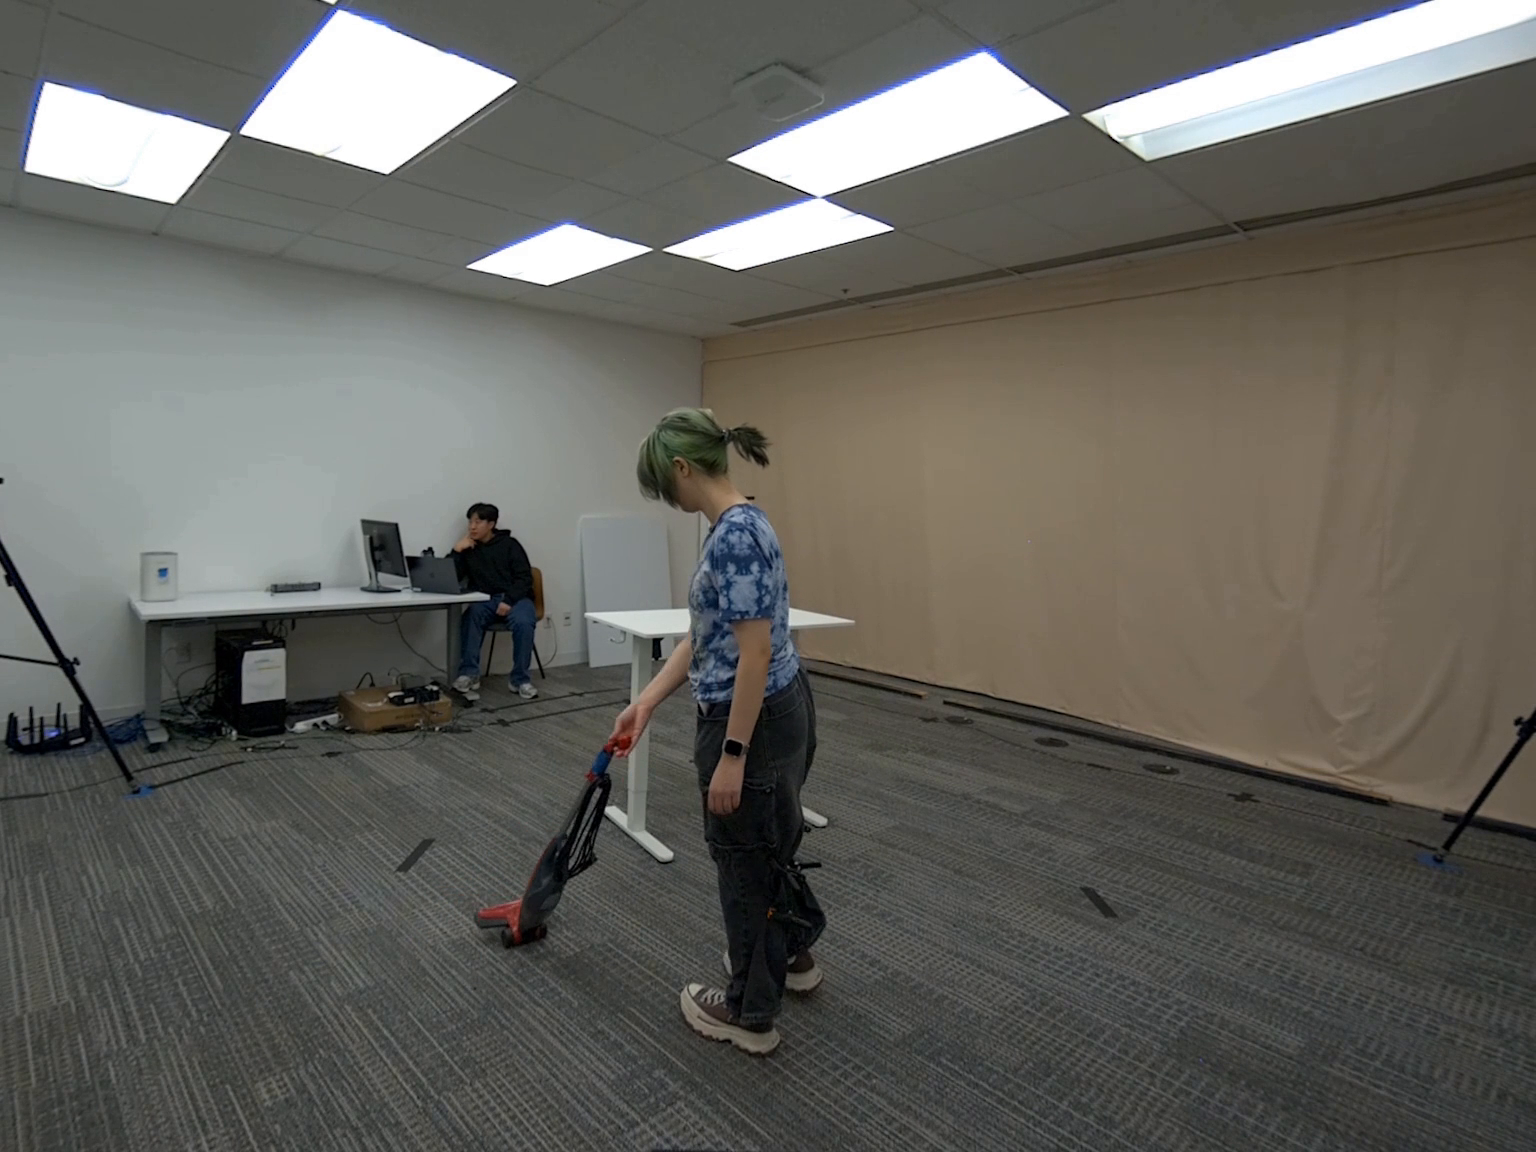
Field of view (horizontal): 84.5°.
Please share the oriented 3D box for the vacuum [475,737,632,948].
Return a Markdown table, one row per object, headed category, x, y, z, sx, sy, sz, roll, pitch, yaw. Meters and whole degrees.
| category | x | y | z | sx | sy | sz | roll | pitch | yaw |
| --- | --- | --- | --- | --- | --- | --- | --- | --- | --- |
| vacuum | -0.575 | 0.772 | 2.335 | 0.247 | 0.148 | 1.043 | -6 | -38 | -38 |
